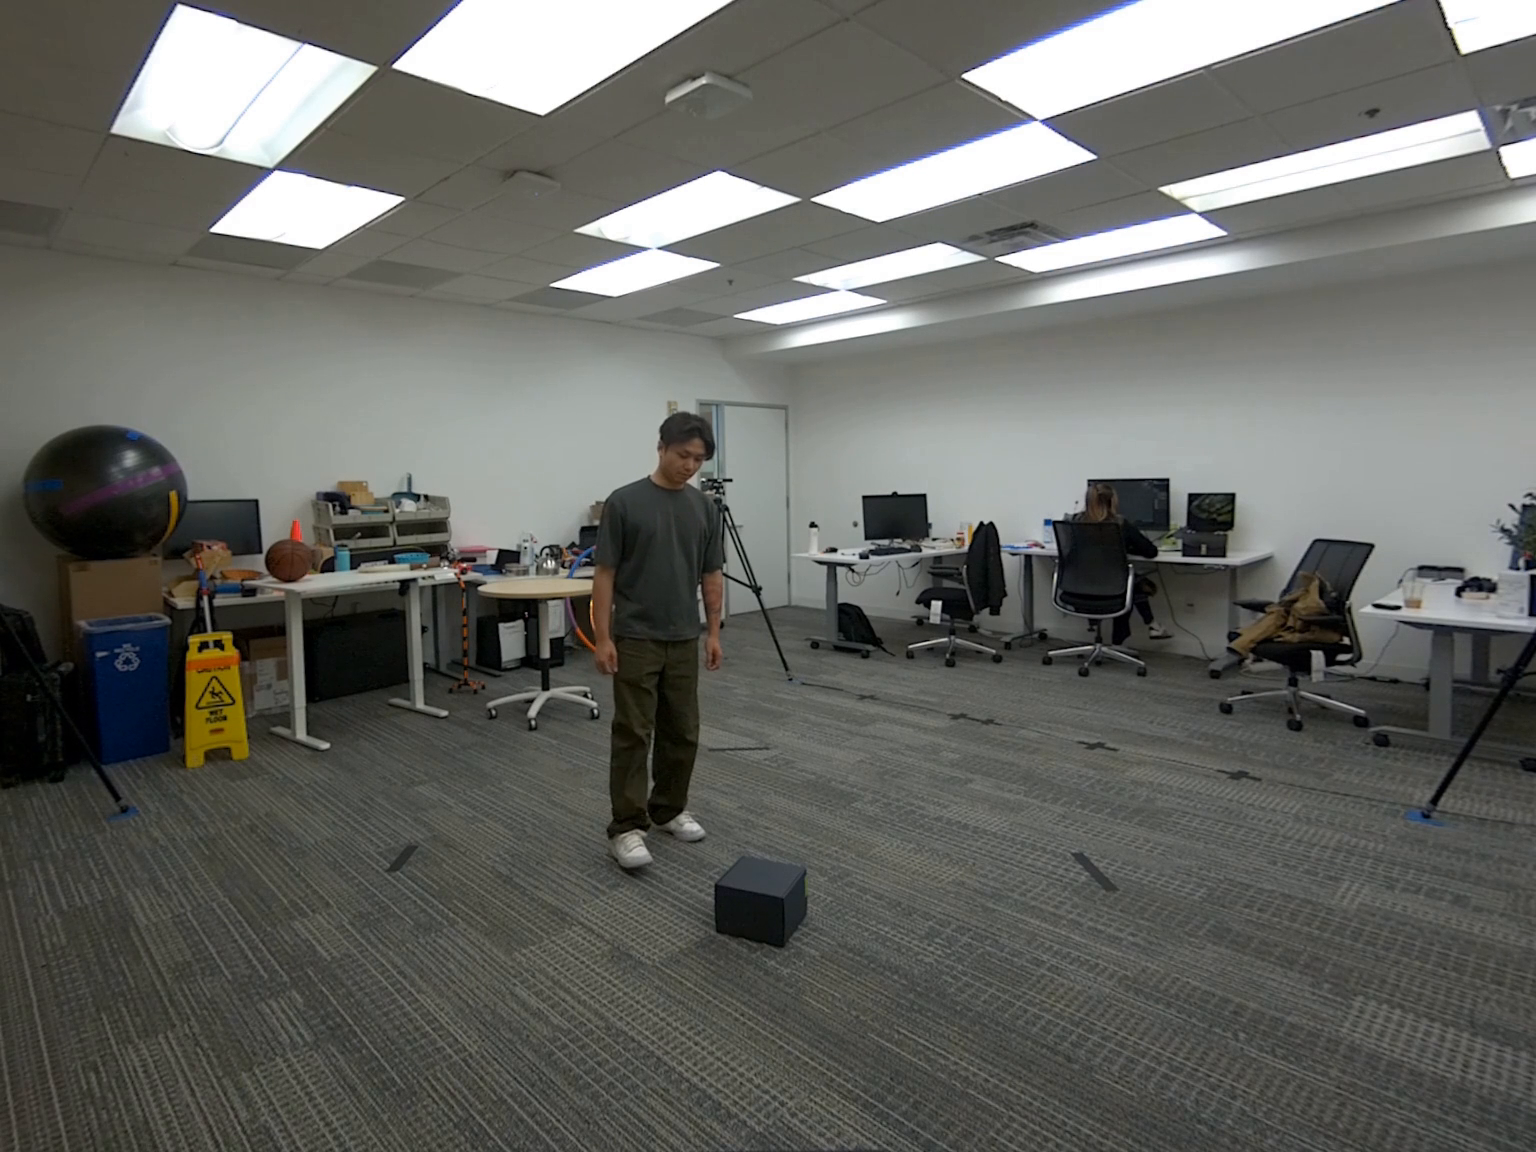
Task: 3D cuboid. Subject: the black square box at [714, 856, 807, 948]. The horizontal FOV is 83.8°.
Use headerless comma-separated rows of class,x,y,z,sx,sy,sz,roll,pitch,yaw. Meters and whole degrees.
black square box,-0.013,1.008,2.679,0.233,0.155,0.213,1,6,23
